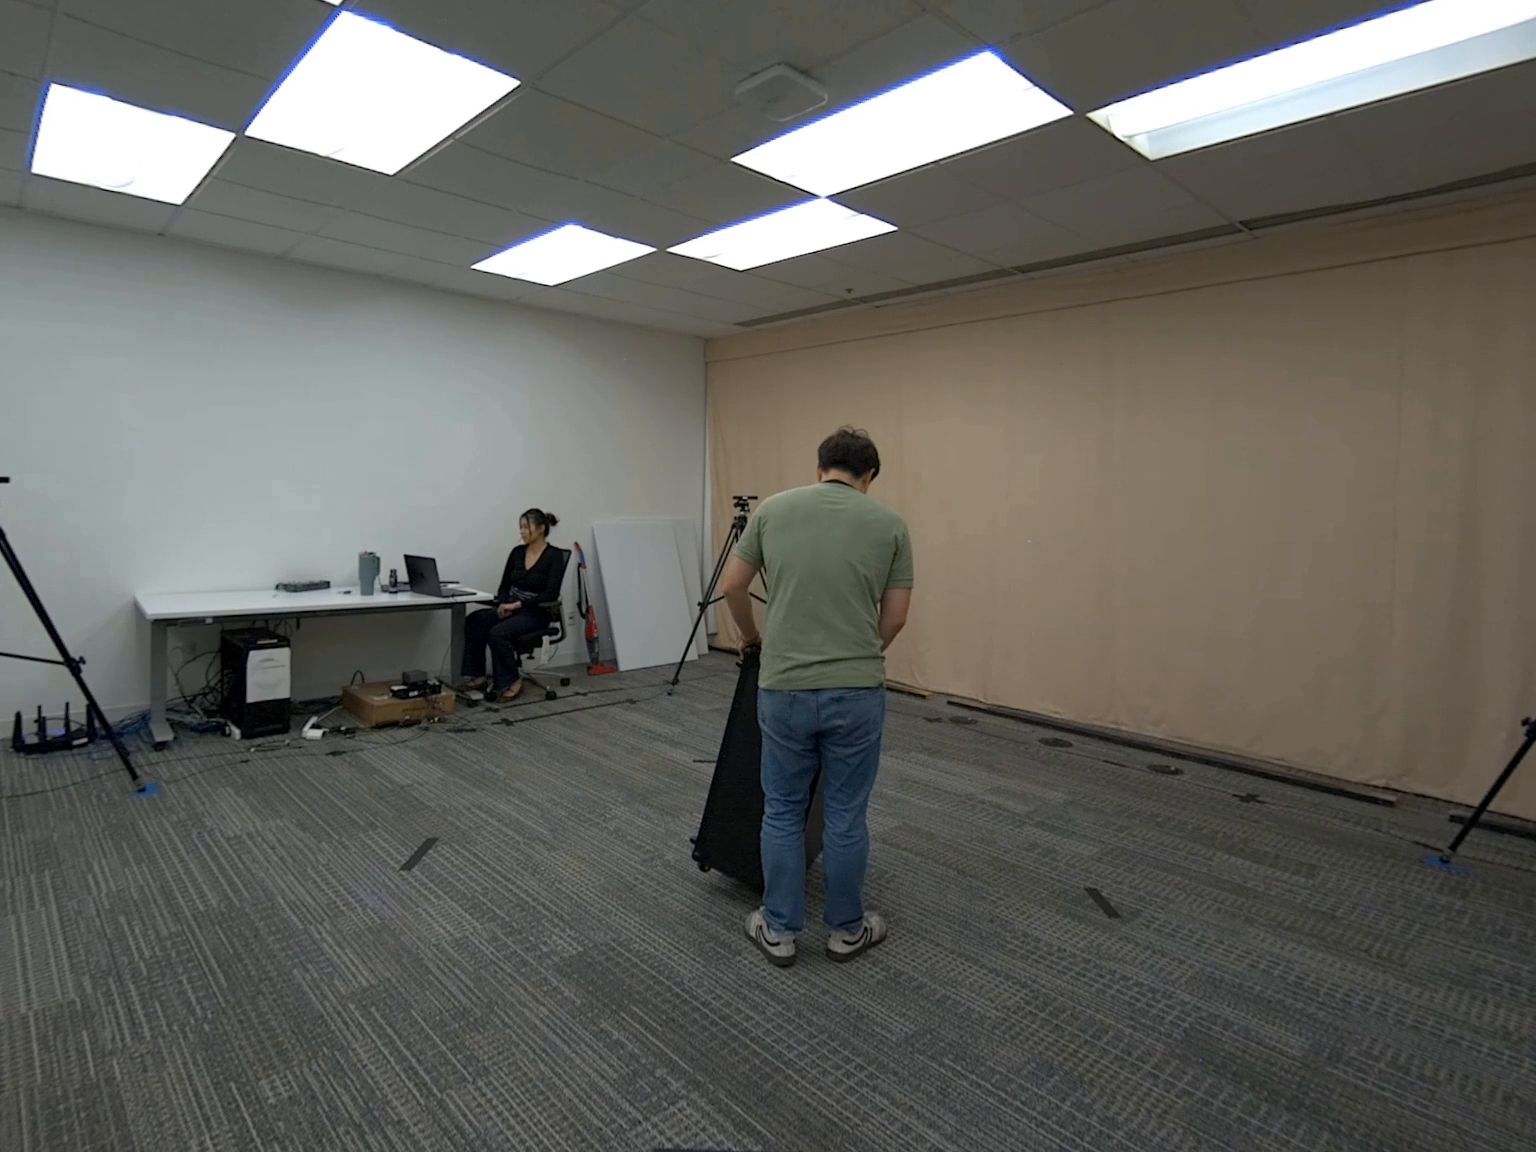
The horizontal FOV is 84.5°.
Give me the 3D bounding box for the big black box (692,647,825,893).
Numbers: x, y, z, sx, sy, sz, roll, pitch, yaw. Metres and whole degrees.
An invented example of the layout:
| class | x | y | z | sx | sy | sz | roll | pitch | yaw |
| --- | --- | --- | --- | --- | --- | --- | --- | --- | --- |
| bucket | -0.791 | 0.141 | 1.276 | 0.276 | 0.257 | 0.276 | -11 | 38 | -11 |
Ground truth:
| class | x | y | z | sx | sy | sz | roll | pitch | yaw |
| --- | --- | --- | --- | --- | --- | --- | --- | --- | --- |
| big black box | 0.035 | 0.674 | 3.020 | 0.403 | 0.857 | 0.514 | 16 | 9 | 17 |
